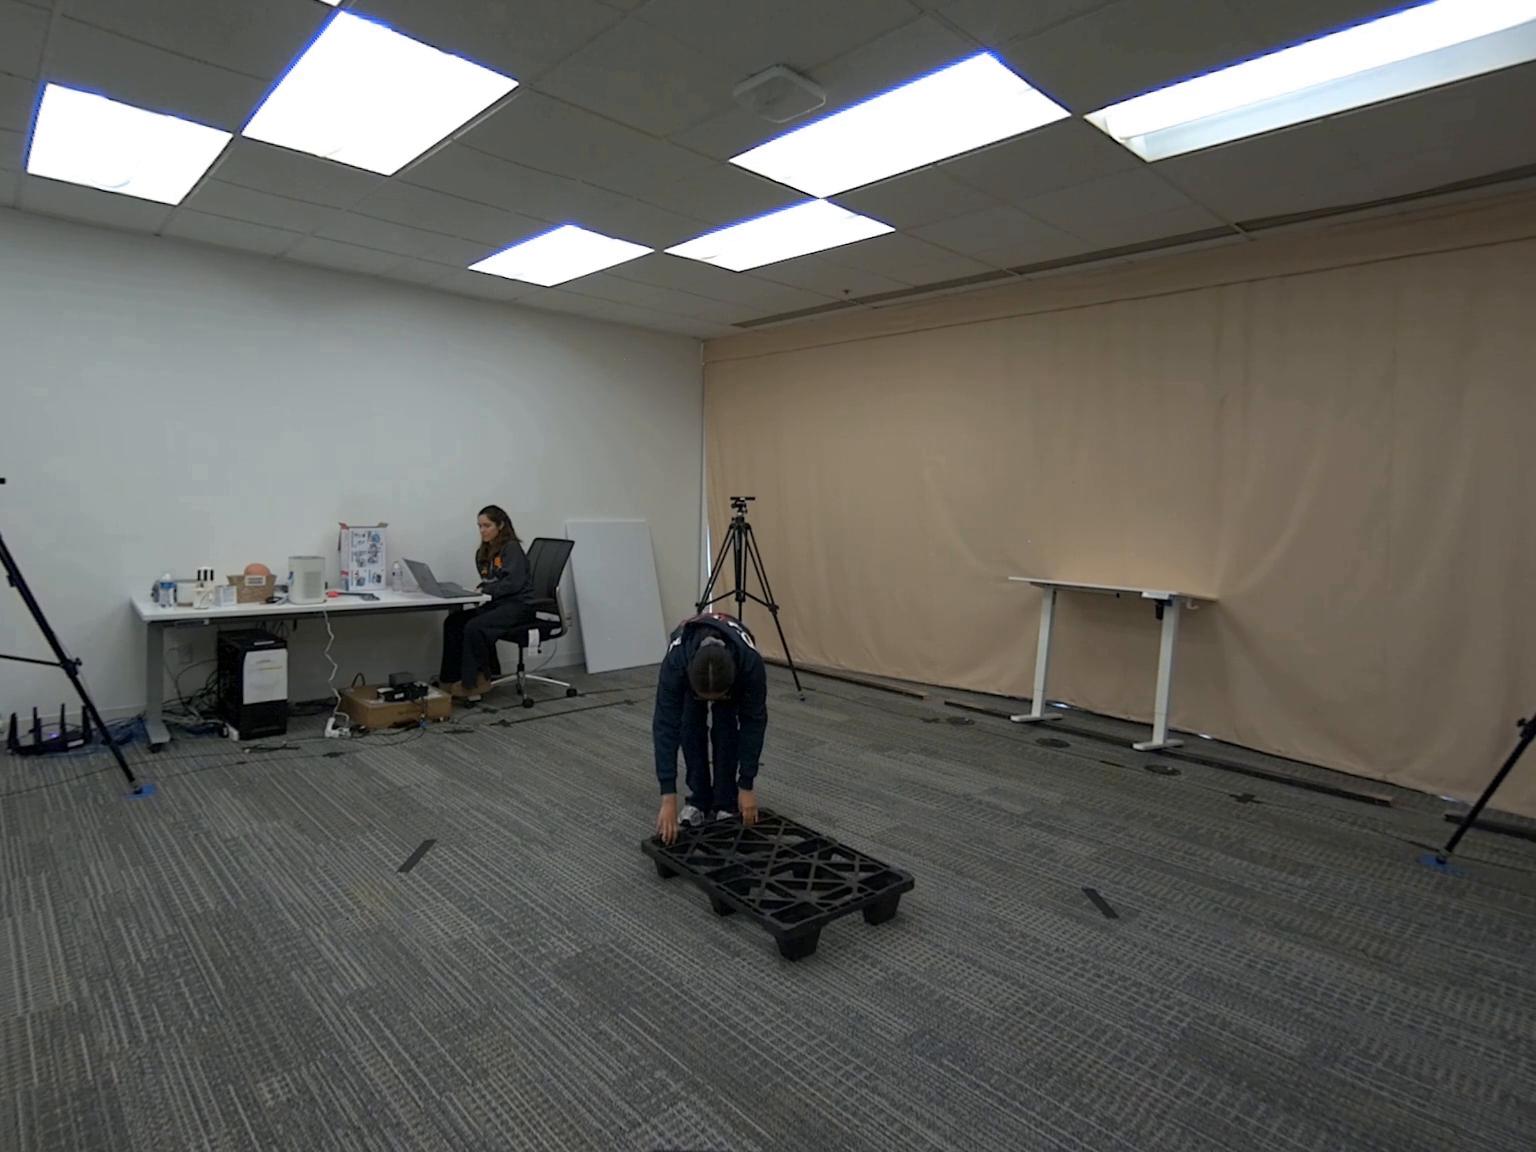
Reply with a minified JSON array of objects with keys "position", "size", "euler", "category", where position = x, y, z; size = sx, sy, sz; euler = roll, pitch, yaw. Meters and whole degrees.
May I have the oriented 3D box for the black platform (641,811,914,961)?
[{"position":[0.007,1.058,2.963],"size":[0.591,0.143,0.826],"euler":[-3,7,-40],"category":"black platform"}]
